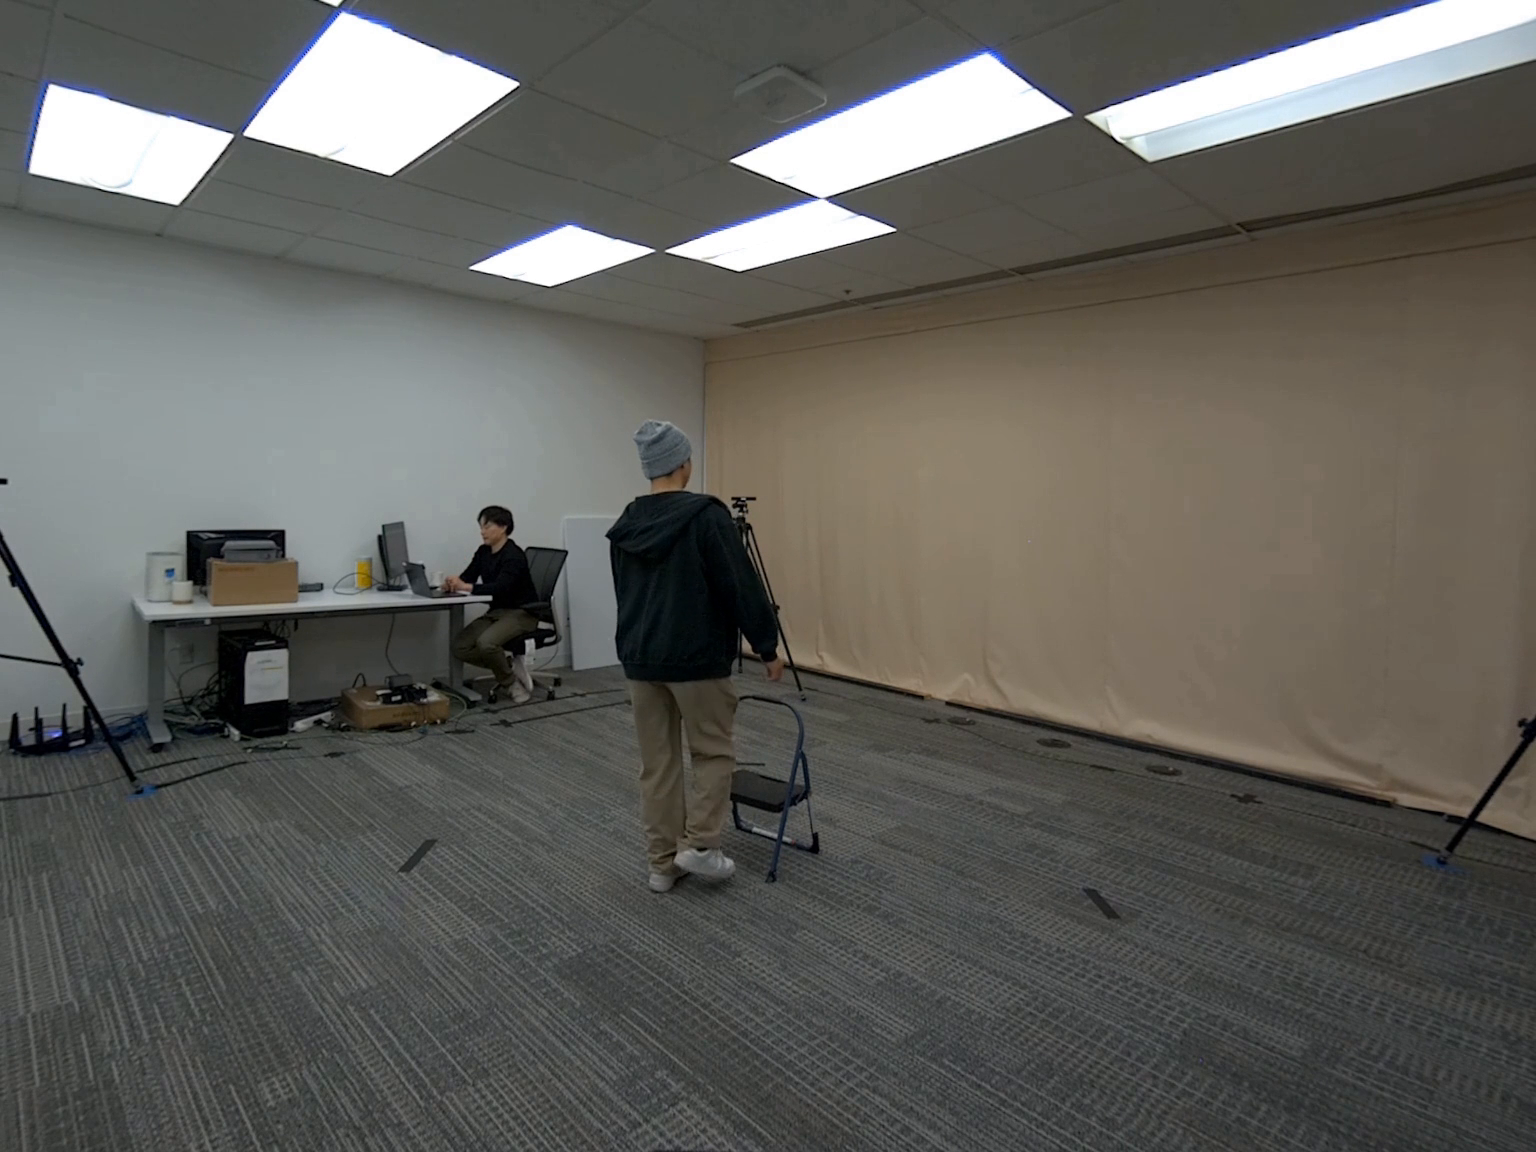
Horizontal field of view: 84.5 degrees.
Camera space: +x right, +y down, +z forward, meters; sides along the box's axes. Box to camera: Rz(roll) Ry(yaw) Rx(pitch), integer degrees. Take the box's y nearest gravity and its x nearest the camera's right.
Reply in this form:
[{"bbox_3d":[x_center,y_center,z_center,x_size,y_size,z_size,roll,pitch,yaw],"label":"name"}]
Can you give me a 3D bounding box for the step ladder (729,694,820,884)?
[{"bbox_3d":[-0.056,0.789,3.306,0.441,0.604,0.342,4,4,36],"label":"step ladder"}]
